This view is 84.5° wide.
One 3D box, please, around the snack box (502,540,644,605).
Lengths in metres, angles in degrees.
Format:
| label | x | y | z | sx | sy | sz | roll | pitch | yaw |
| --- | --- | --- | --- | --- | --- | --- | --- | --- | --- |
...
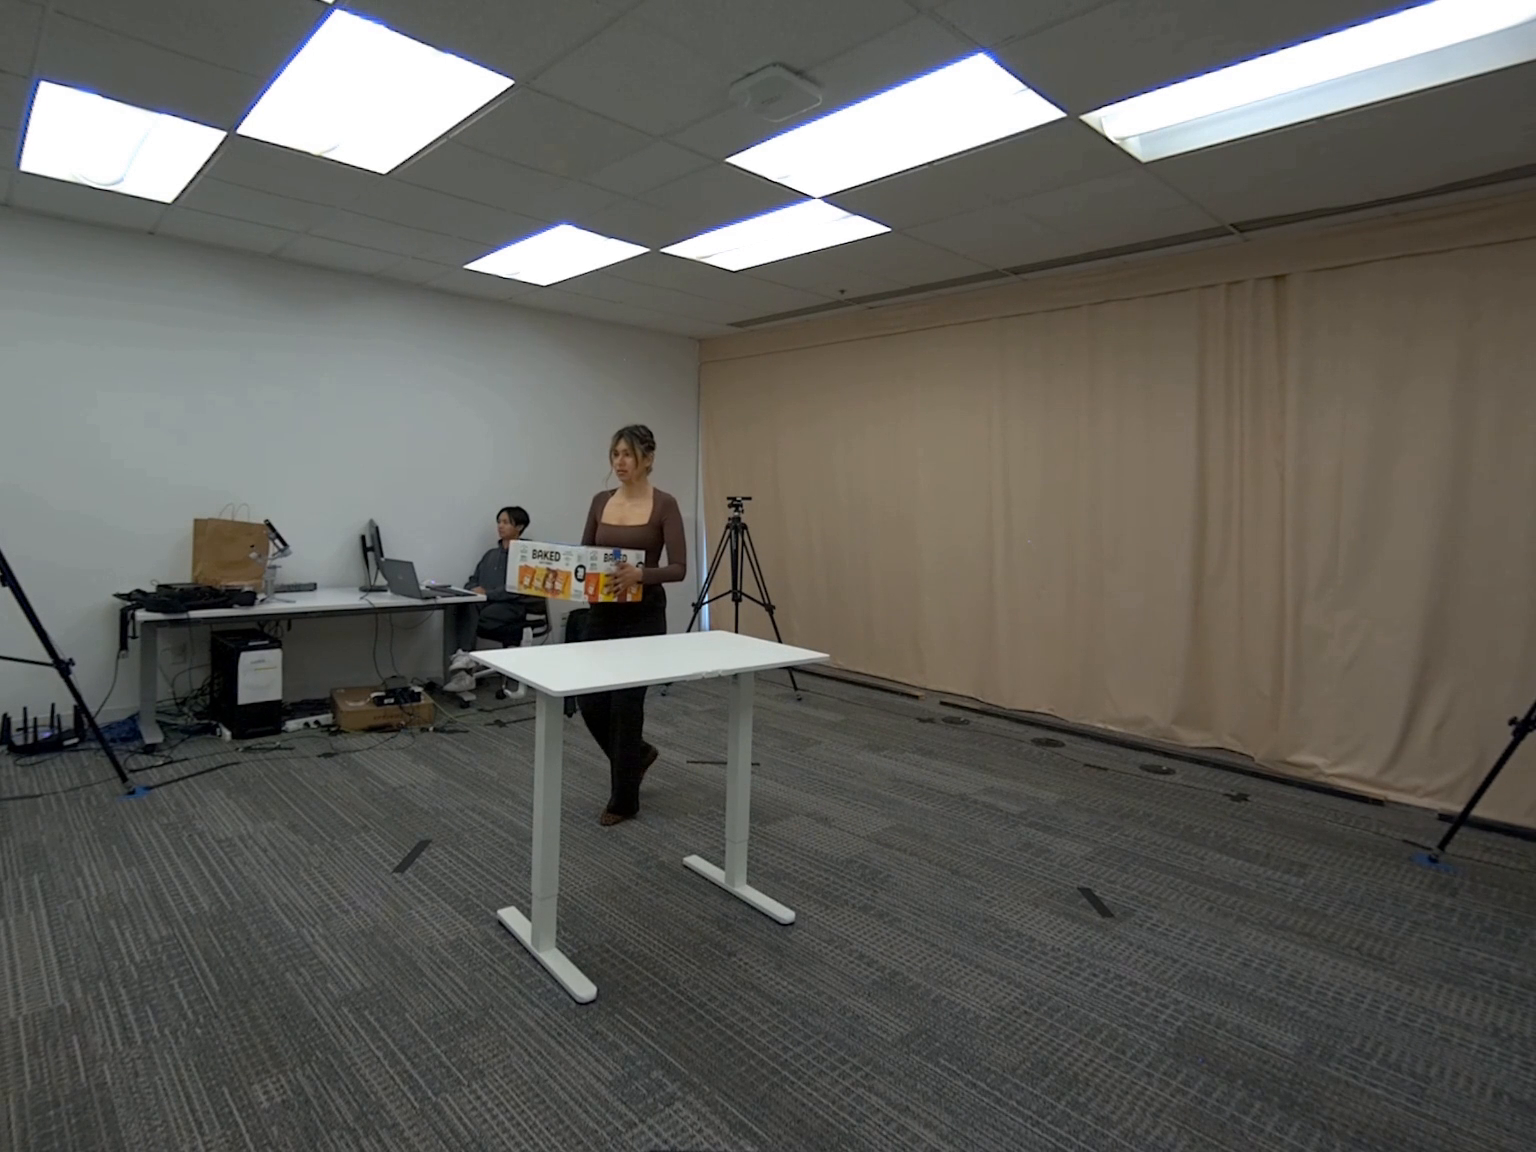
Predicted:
| label | x | y | z | sx | sy | sz | roll | pitch | yaw |
| --- | --- | --- | --- | --- | --- | --- | --- | --- | --- |
| snack box | -0.764 | -0.017 | 3.315 | 0.414 | 0.205 | 0.332 | 6 | 2 | 32 |
